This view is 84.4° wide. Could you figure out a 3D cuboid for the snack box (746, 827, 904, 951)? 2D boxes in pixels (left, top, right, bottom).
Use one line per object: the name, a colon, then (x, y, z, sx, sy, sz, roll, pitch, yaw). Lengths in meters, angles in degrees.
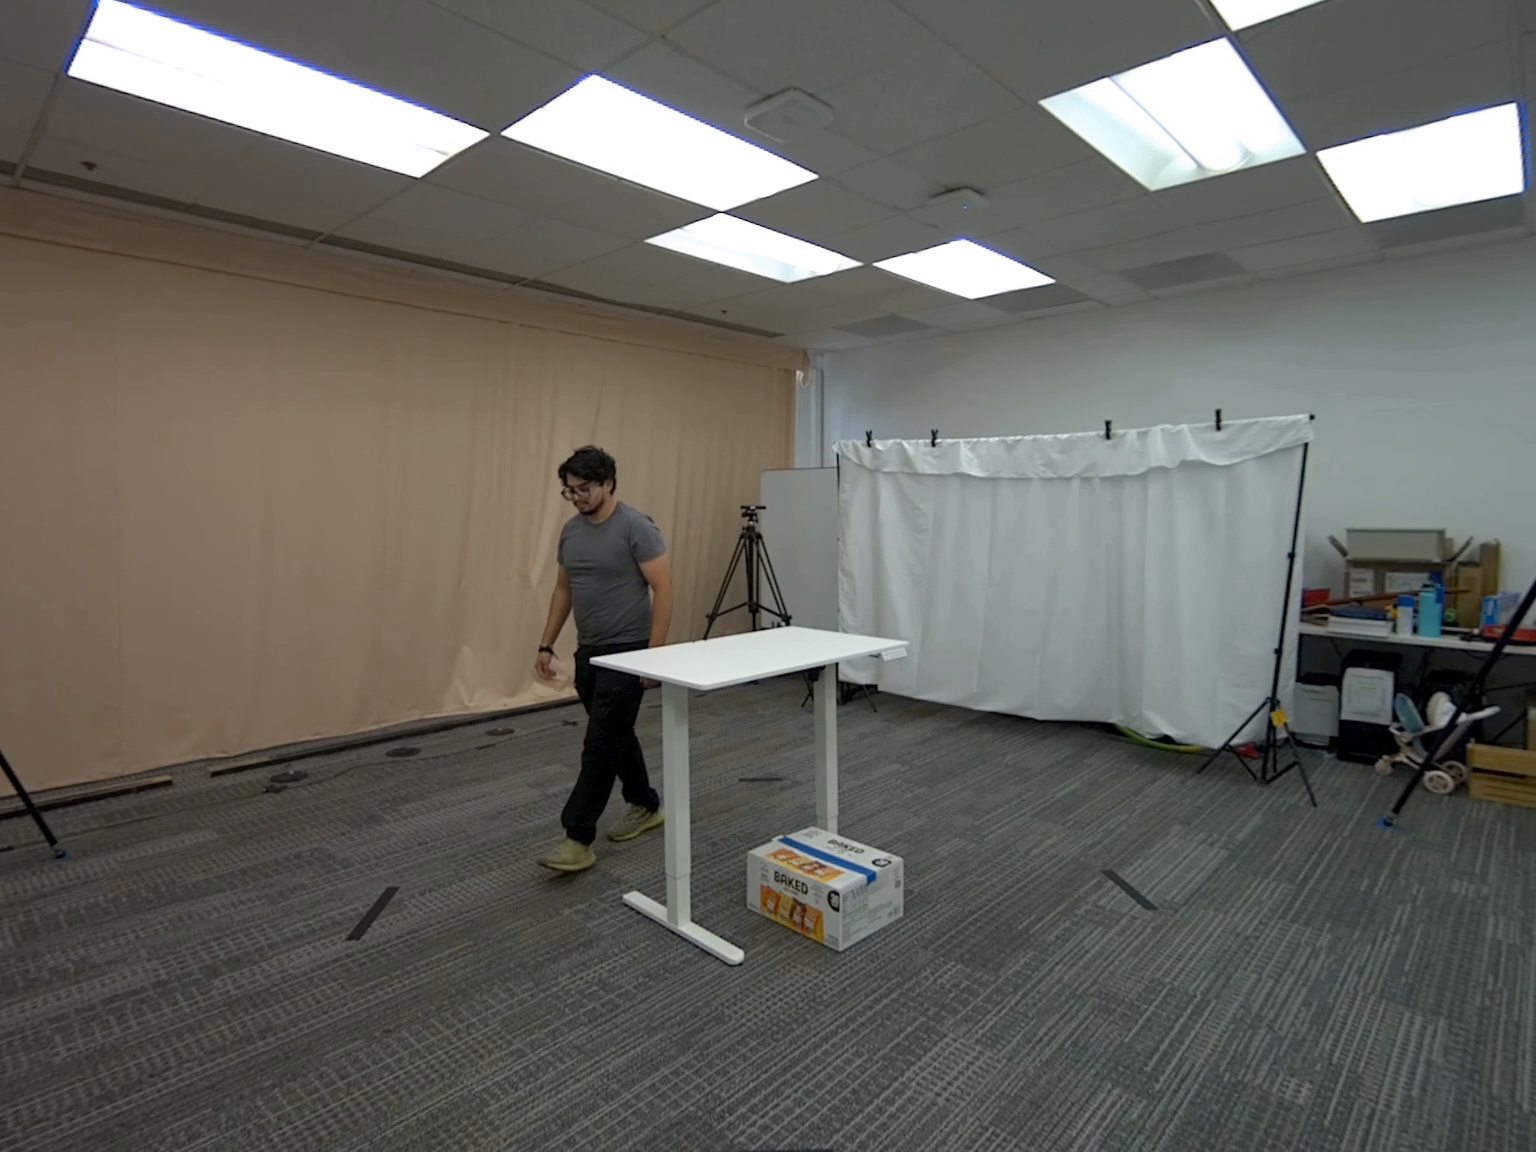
snack box: (0.197, 1.053, 2.868, 0.419, 0.205, 0.330, 4, 6, 45)
